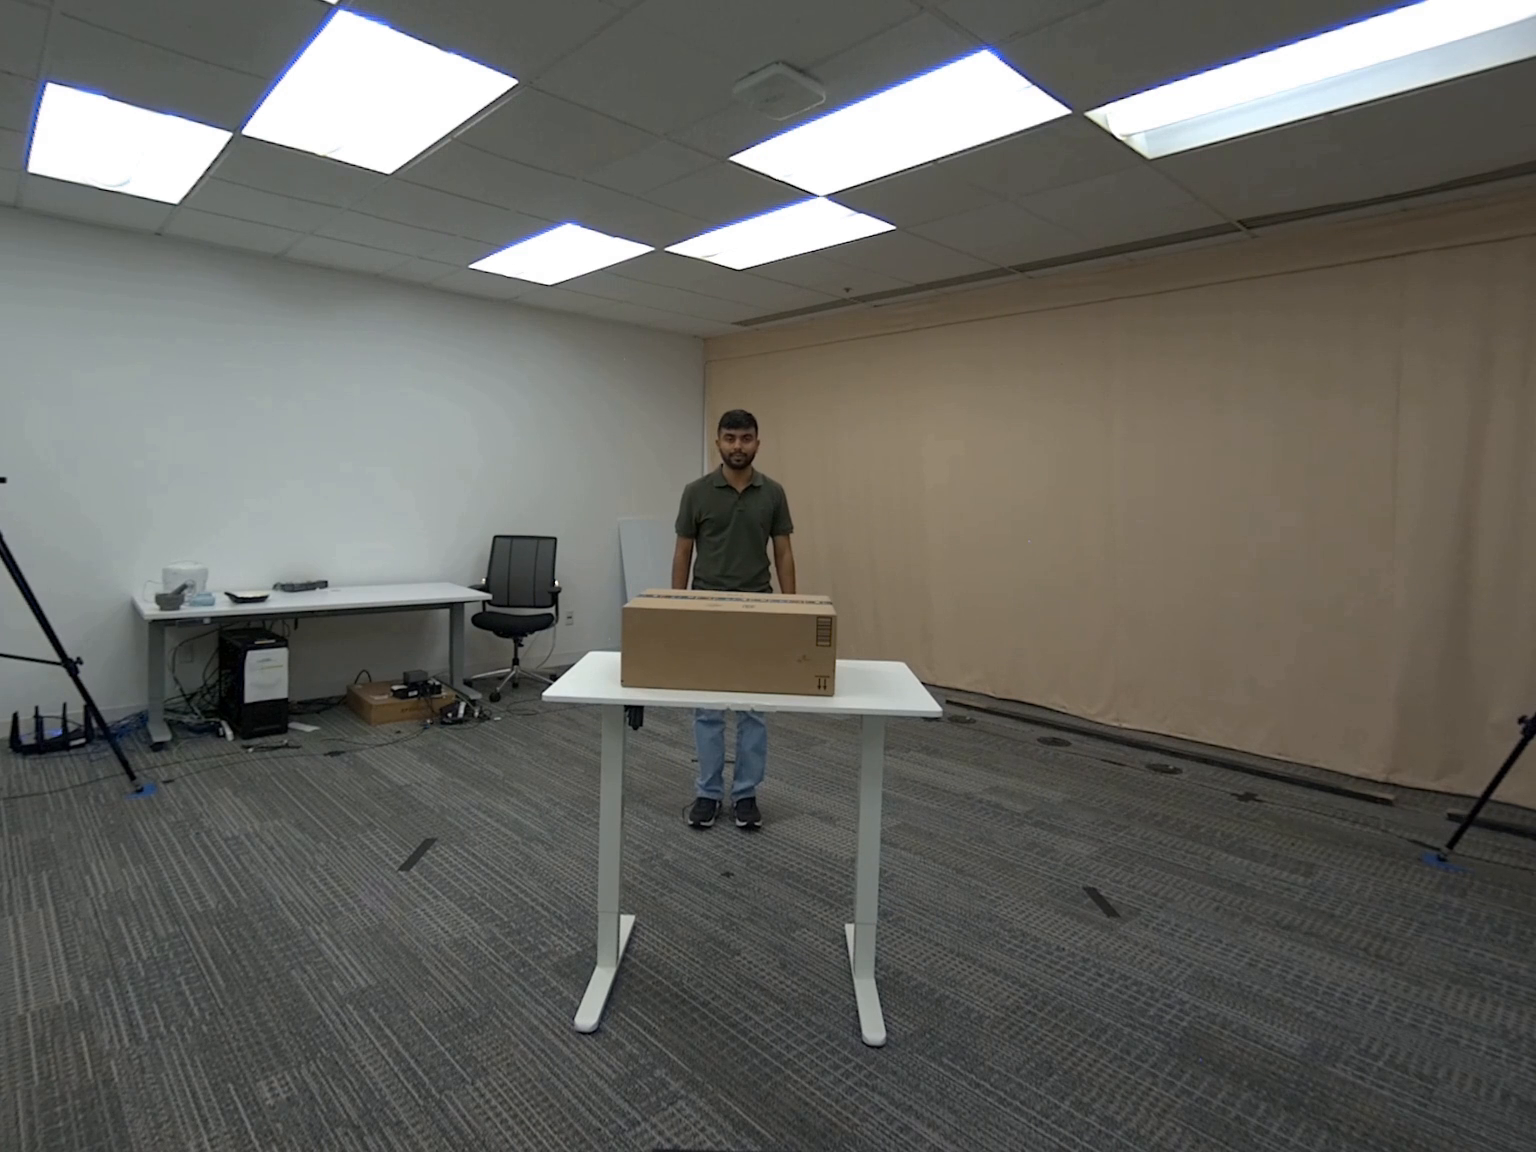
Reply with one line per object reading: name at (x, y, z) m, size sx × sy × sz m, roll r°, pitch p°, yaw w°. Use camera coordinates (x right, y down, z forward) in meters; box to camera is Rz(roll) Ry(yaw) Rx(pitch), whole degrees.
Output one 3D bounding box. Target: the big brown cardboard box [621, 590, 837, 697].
big brown cardboard box at (-0.115, 0.180, 2.398) m, size 0.591 × 0.232 × 0.417 m, roll 1°, pitch 5°, yaw 4°
